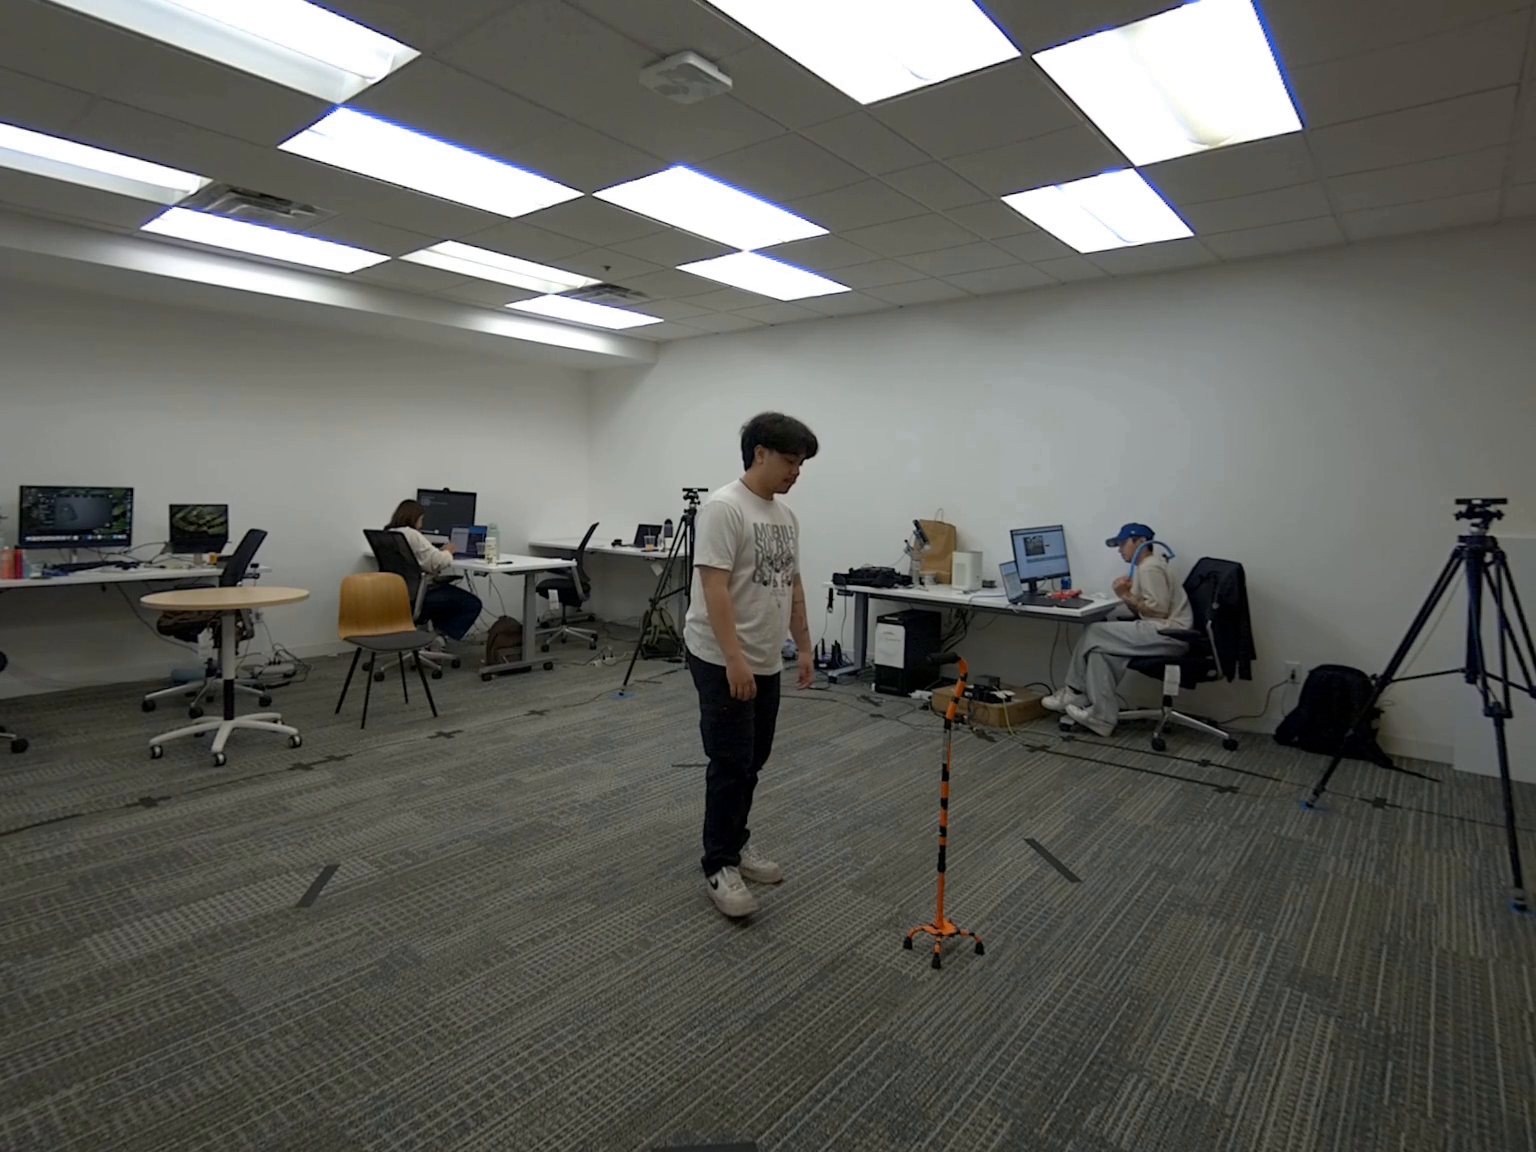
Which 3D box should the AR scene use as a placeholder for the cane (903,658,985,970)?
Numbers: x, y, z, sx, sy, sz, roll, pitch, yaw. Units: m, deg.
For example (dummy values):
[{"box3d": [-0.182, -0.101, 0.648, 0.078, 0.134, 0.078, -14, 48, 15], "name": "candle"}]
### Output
[{"box3d": [0.540, 0.689, 2.575, 0.201, 0.905, 0.156, 0, 3, -31], "name": "cane"}]
